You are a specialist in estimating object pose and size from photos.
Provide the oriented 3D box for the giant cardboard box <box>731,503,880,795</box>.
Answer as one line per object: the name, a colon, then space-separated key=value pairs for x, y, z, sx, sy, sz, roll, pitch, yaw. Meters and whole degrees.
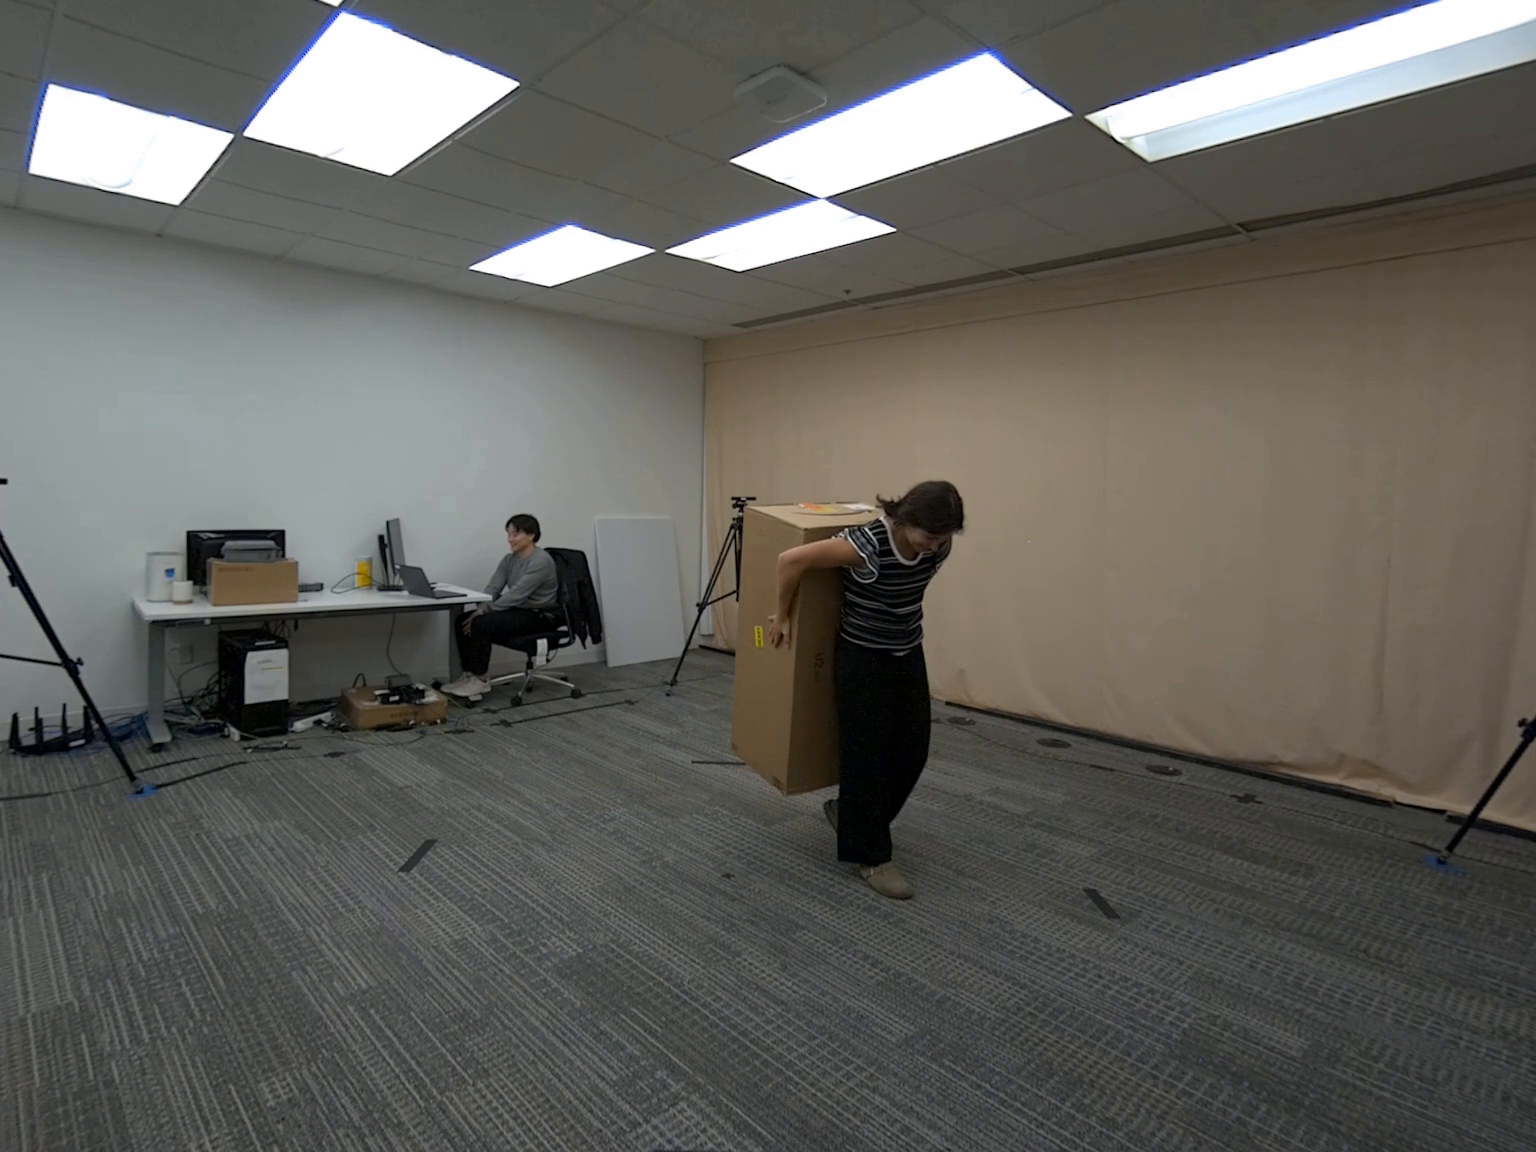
giant cardboard box: x=0.215 y=0.258 z=3.321 sx=0.567 sy=1.017 sz=0.438 roll=-4 pitch=15 yaw=-29
